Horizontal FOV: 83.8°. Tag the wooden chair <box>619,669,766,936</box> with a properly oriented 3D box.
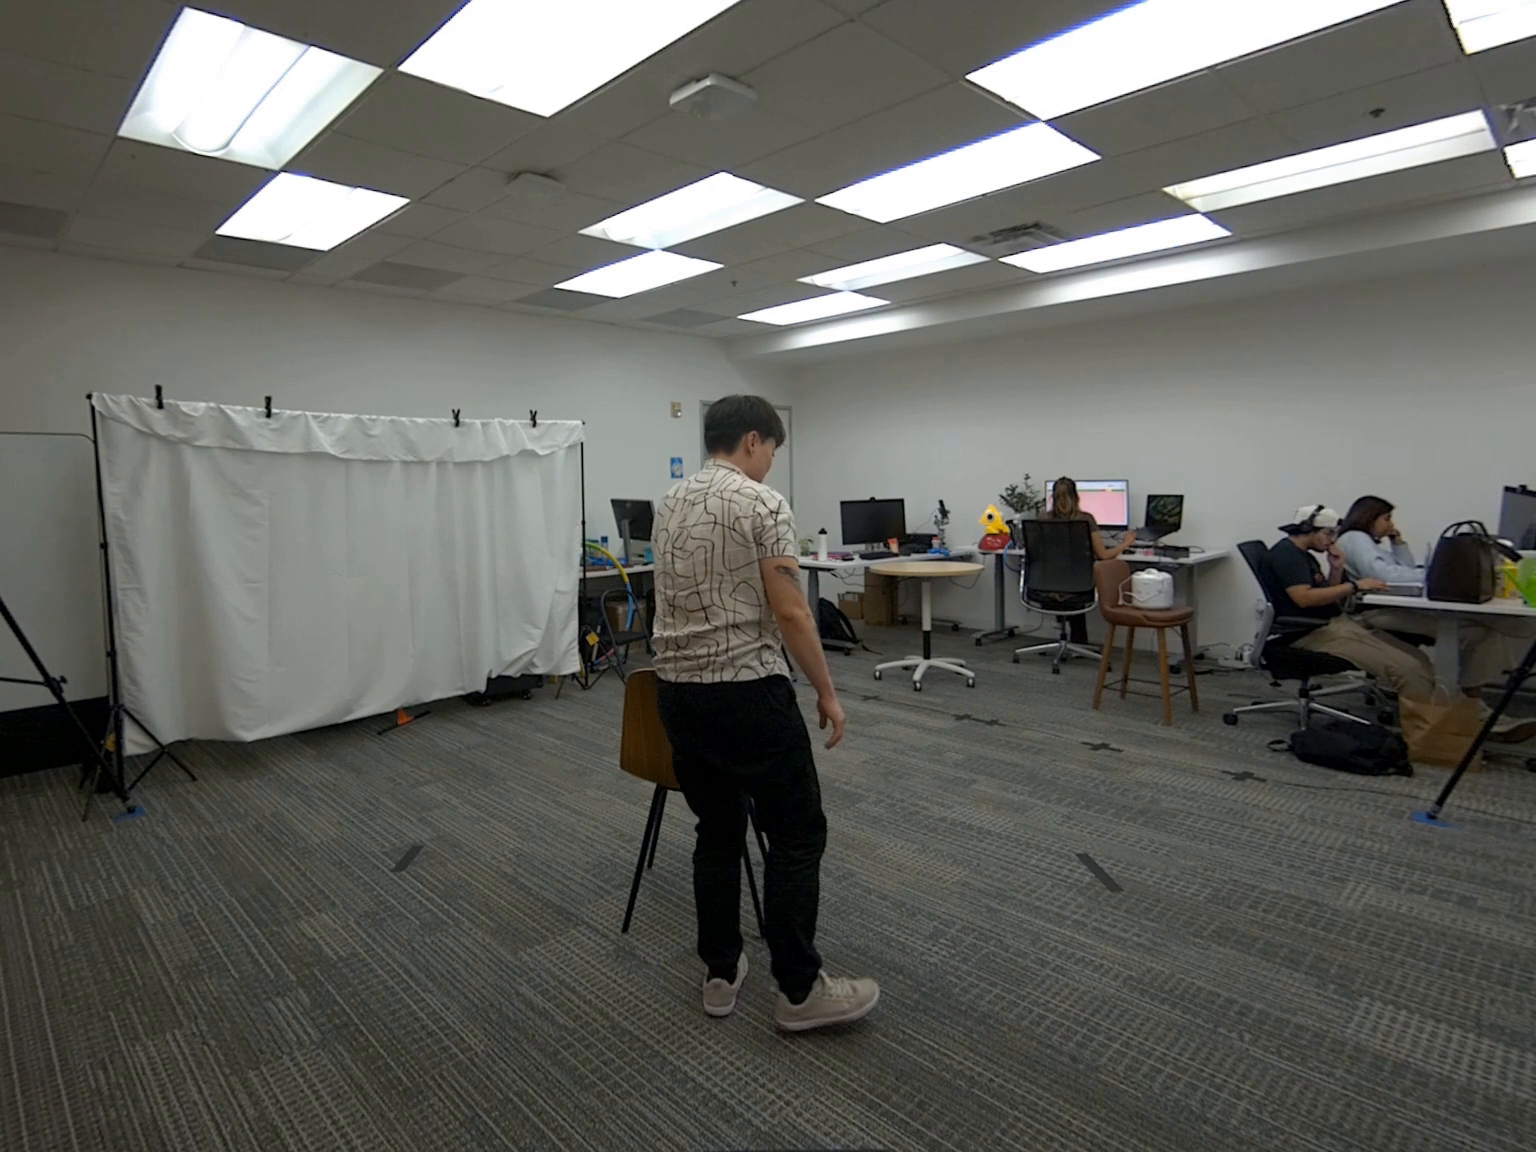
[{"bbox_3d":[-0.229,0.656,2.829,0.480,0.870,0.525,-1,9,4],"label":"wooden chair"}]
